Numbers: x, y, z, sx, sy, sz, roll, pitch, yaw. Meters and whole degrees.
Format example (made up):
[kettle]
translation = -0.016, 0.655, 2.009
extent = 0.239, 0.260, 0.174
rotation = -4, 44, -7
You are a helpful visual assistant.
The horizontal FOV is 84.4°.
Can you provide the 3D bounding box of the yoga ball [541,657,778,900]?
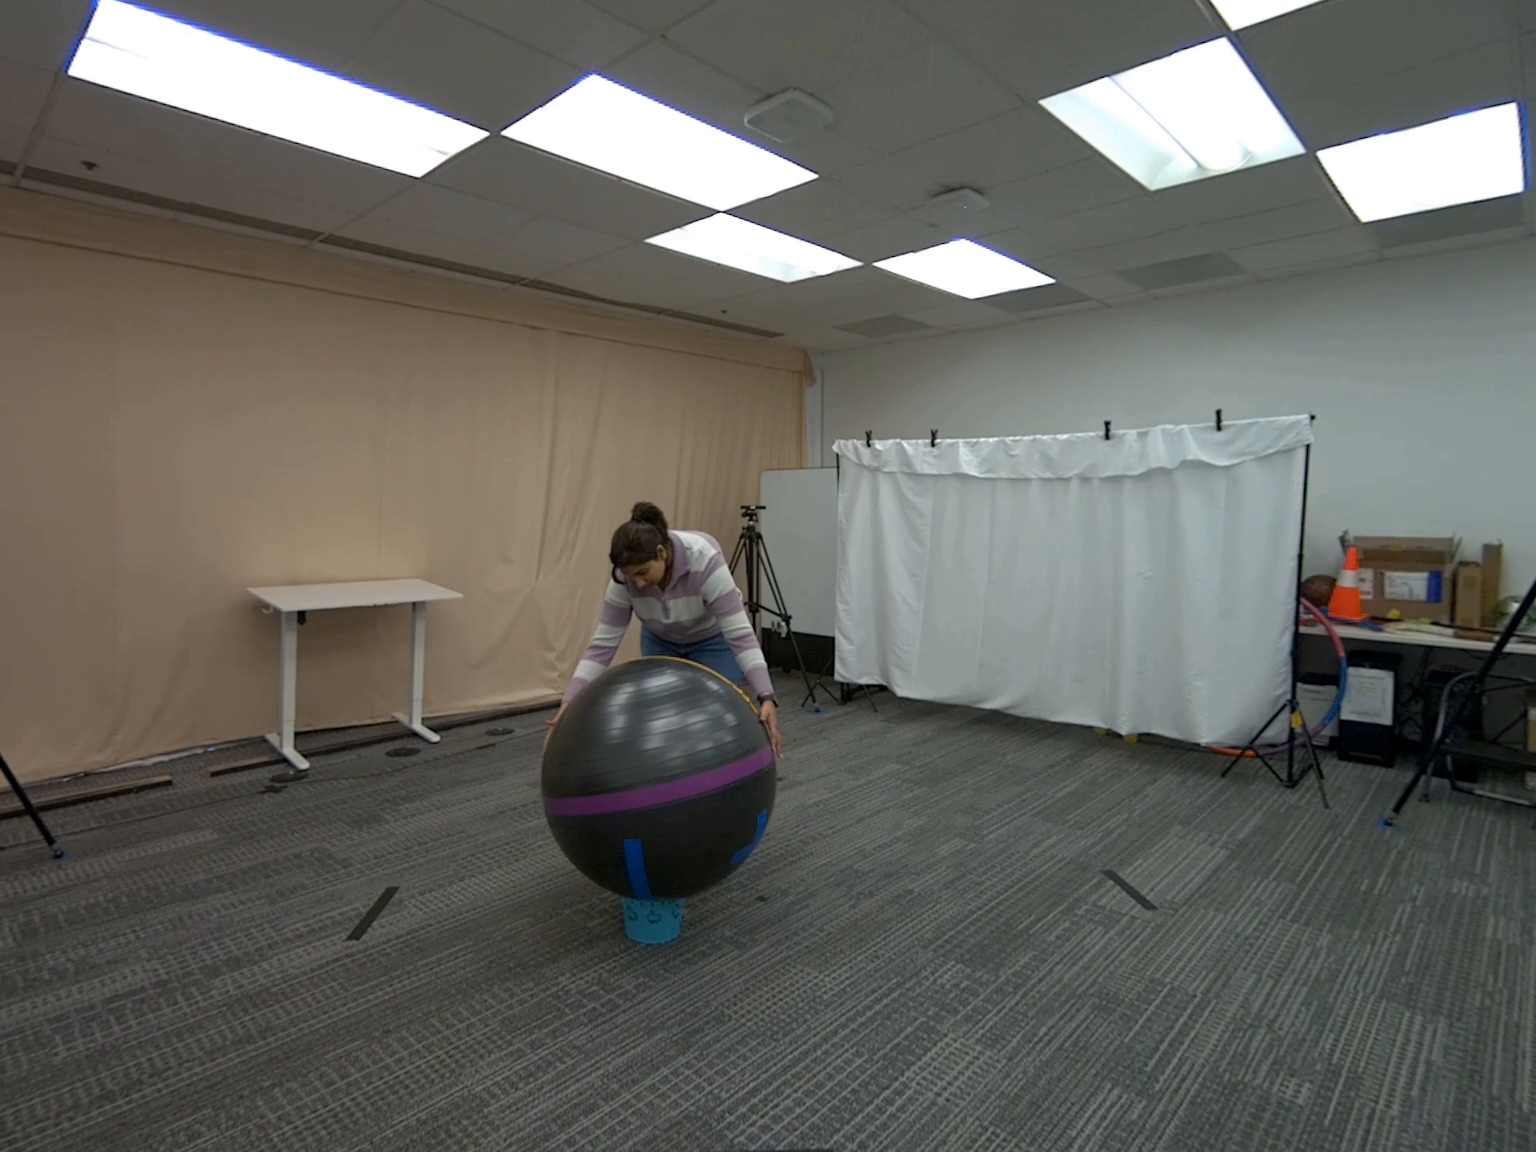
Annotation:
[yoga ball]
translation = -0.349, 0.647, 2.741
extent = 0.757, 0.756, 0.760
rotation = 0, 4, -2
